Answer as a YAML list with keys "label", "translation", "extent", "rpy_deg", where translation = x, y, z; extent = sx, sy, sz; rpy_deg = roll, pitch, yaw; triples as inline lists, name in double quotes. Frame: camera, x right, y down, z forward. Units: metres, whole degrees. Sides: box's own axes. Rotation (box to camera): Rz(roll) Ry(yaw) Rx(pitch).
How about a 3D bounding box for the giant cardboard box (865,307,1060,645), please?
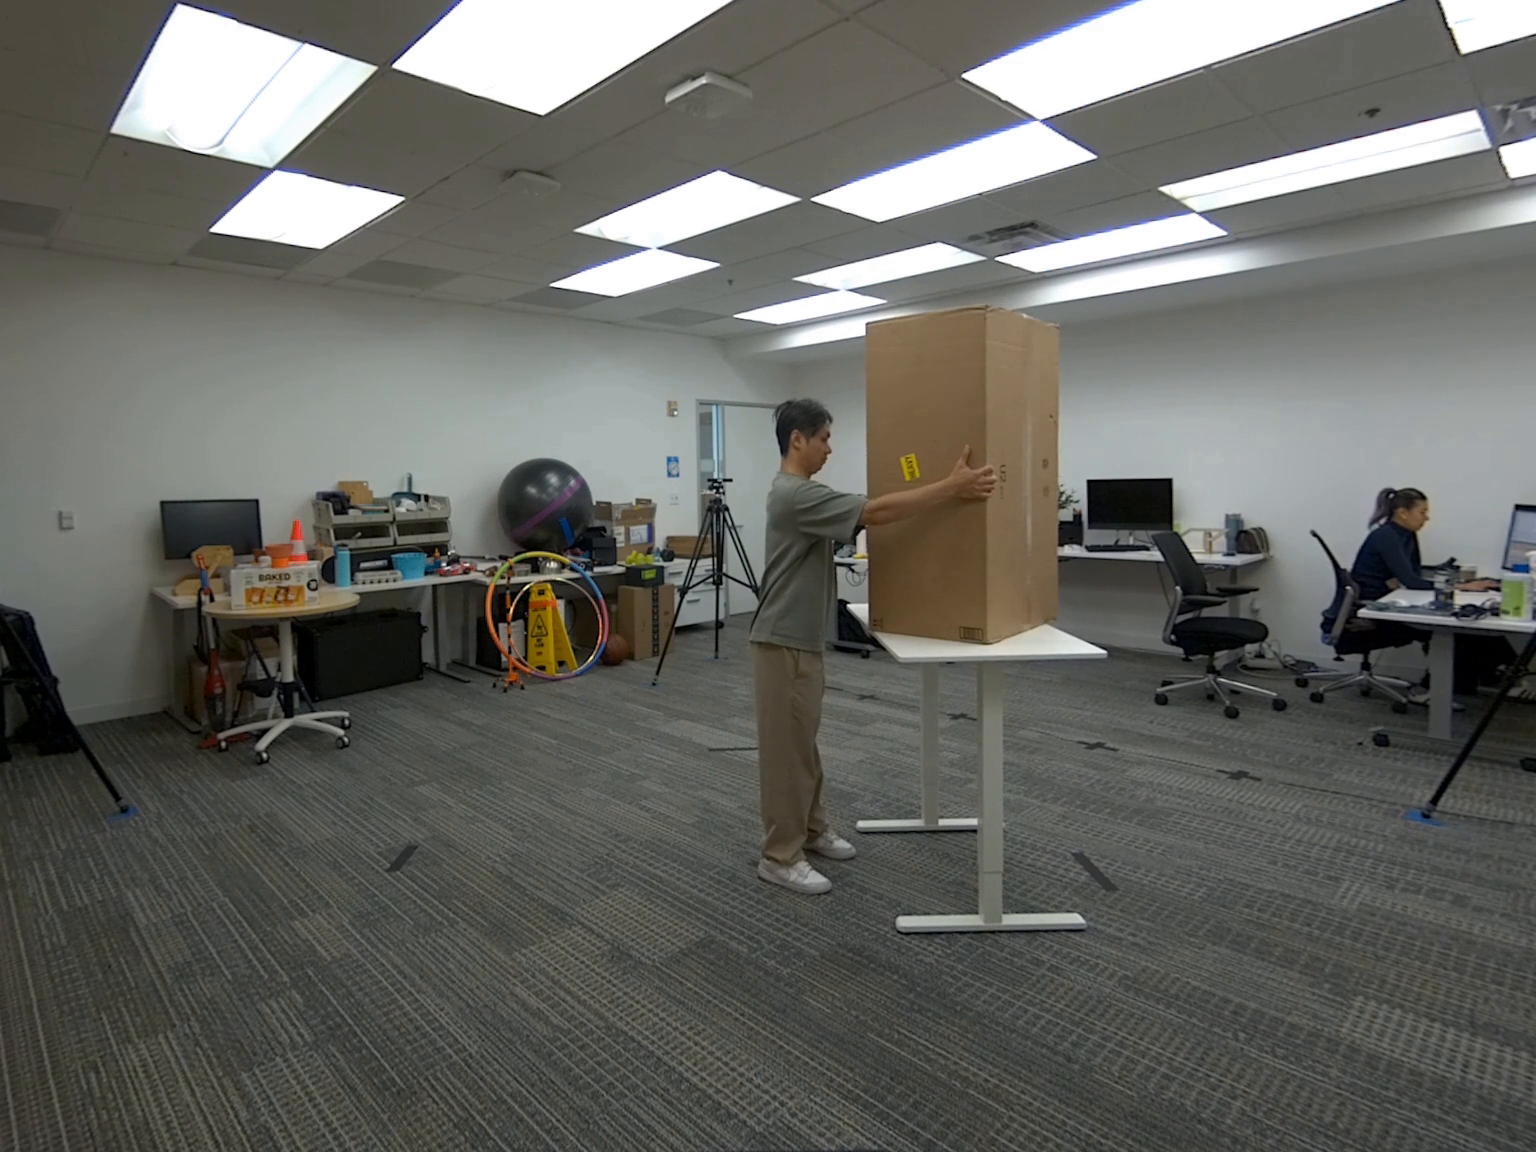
- label: "giant cardboard box"
  translation: [0.666, -0.342, 2.905]
  extent: [0.439, 1.022, 0.563]
  rpy_deg: [2, 6, 41]
